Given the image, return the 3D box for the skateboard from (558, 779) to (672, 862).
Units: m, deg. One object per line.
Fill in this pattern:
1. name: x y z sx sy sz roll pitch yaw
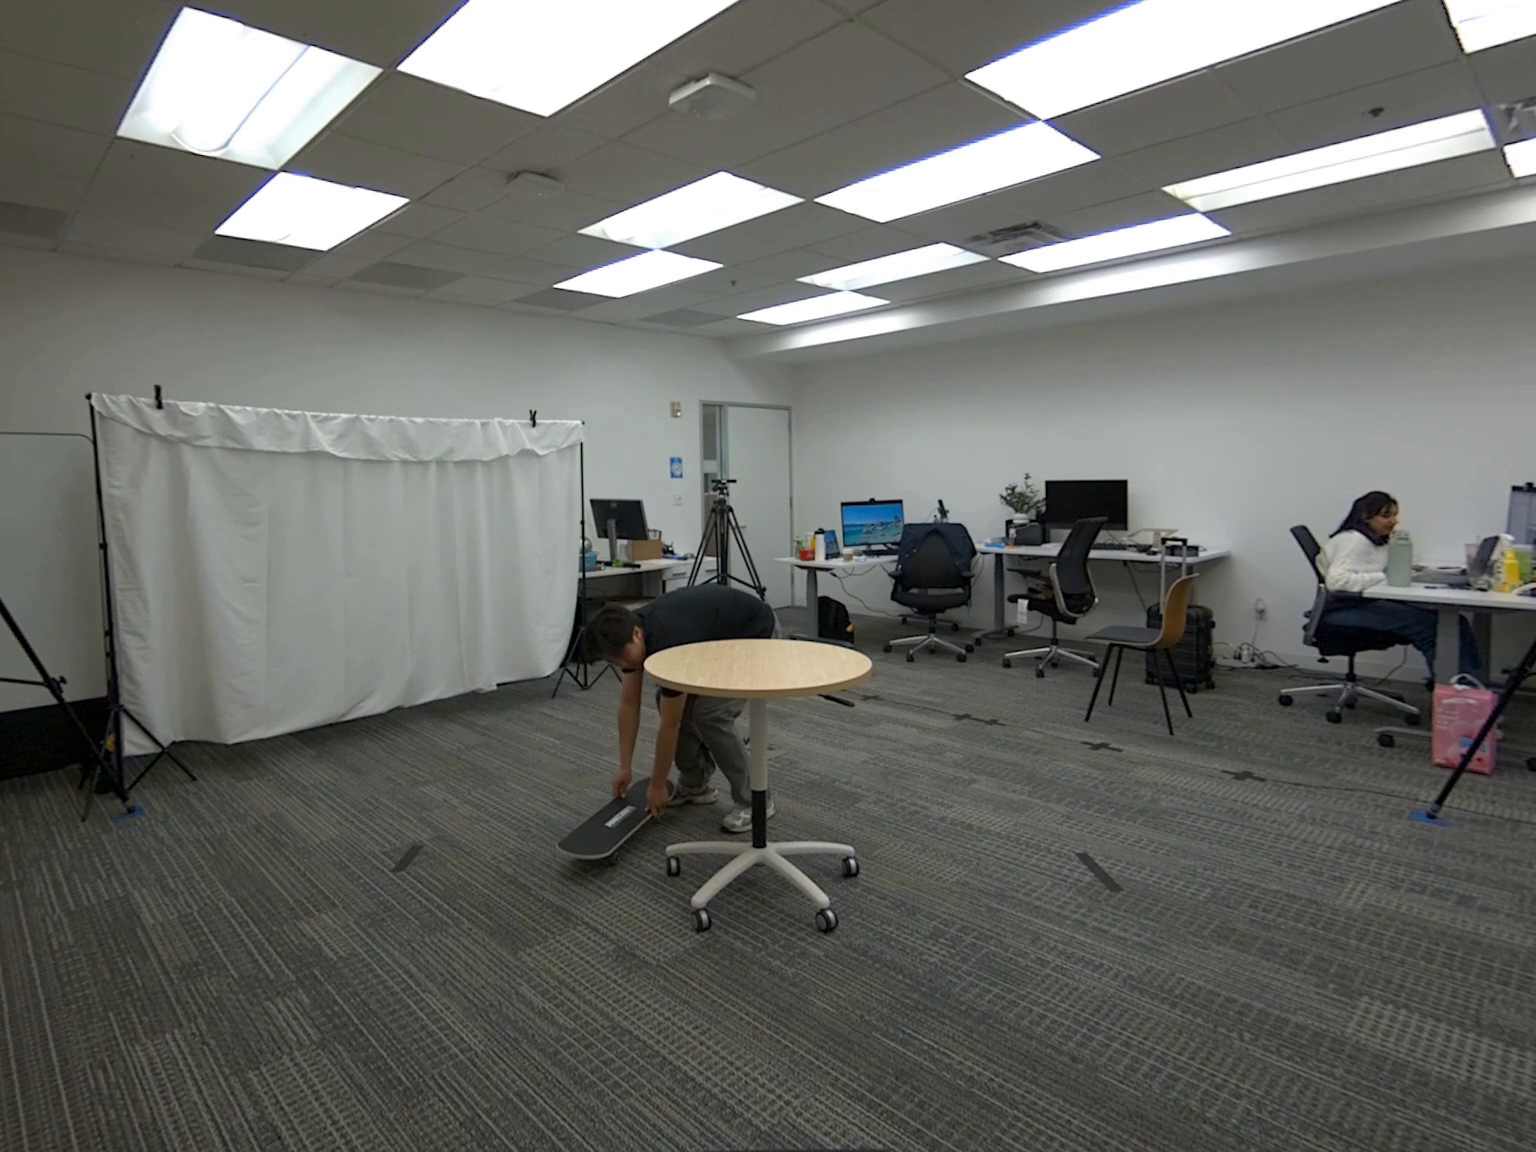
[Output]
1. skateboard: -0.571 0.966 3.326 0.197 0.110 0.775 7 9 17
